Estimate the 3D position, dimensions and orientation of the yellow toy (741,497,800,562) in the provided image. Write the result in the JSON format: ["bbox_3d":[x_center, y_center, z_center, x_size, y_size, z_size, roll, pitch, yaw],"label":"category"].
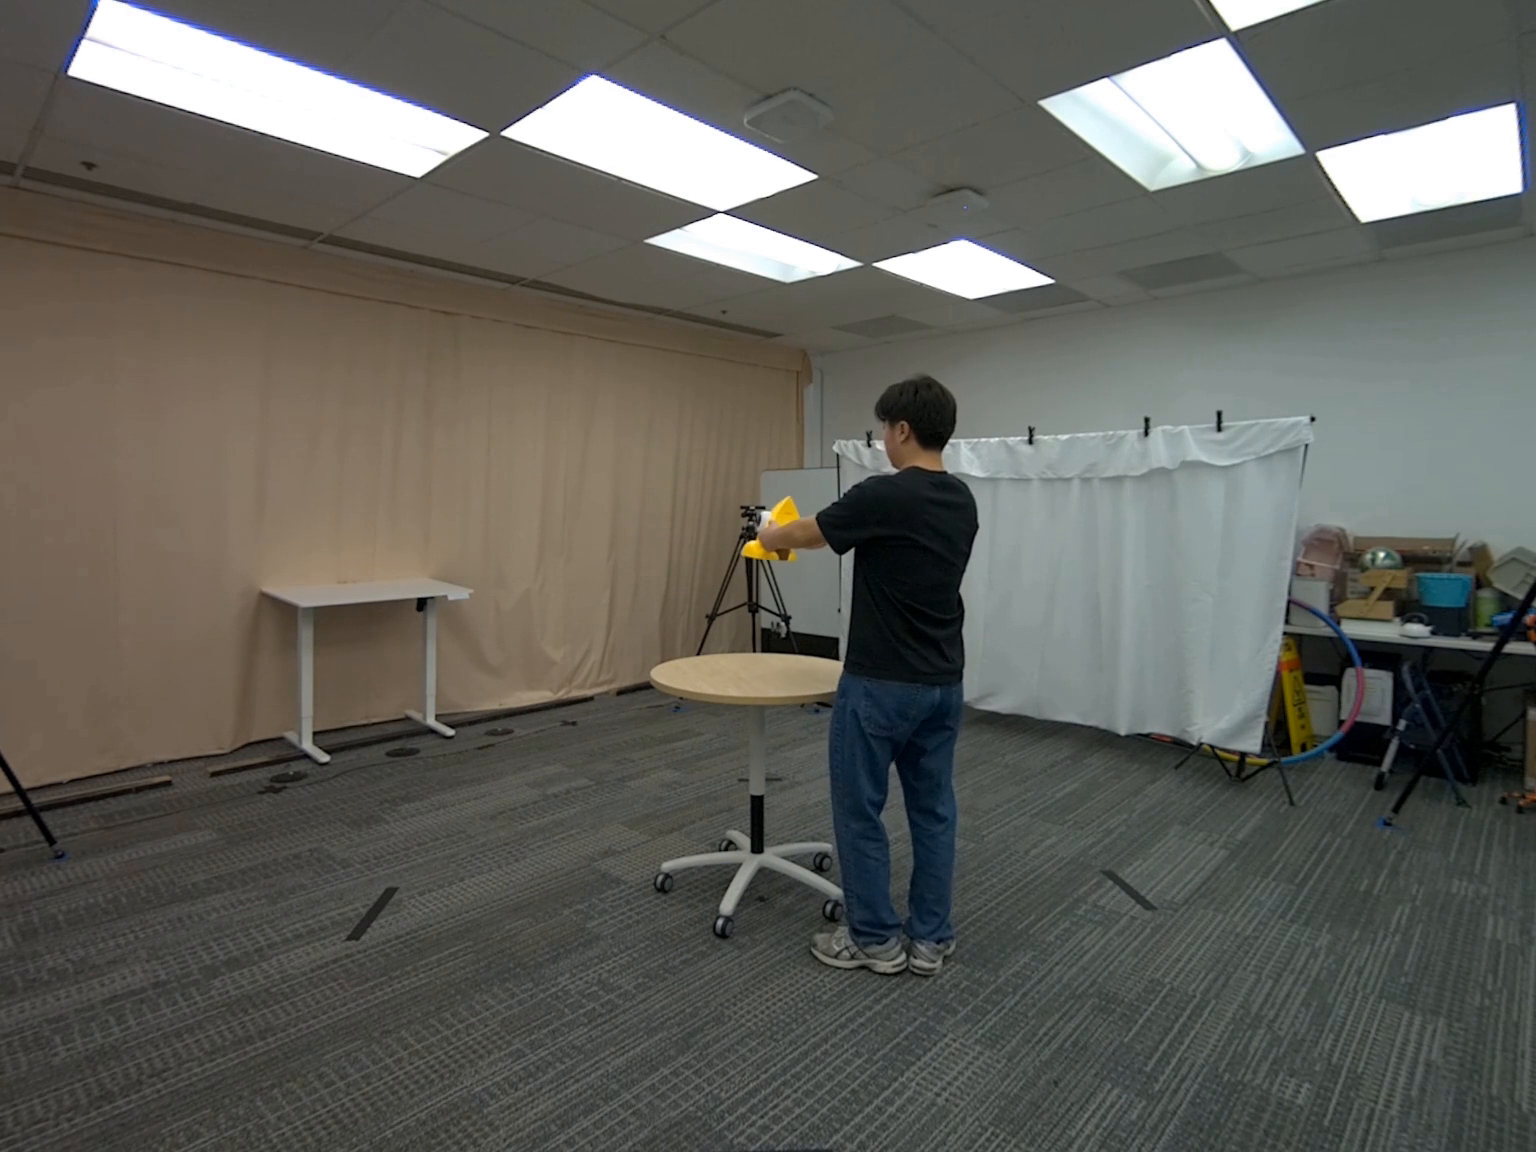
[{"bbox_3d":[0.028,-0.179,3.047,0.198,0.230,0.200,2,7,-40],"label":"yellow toy"}]
